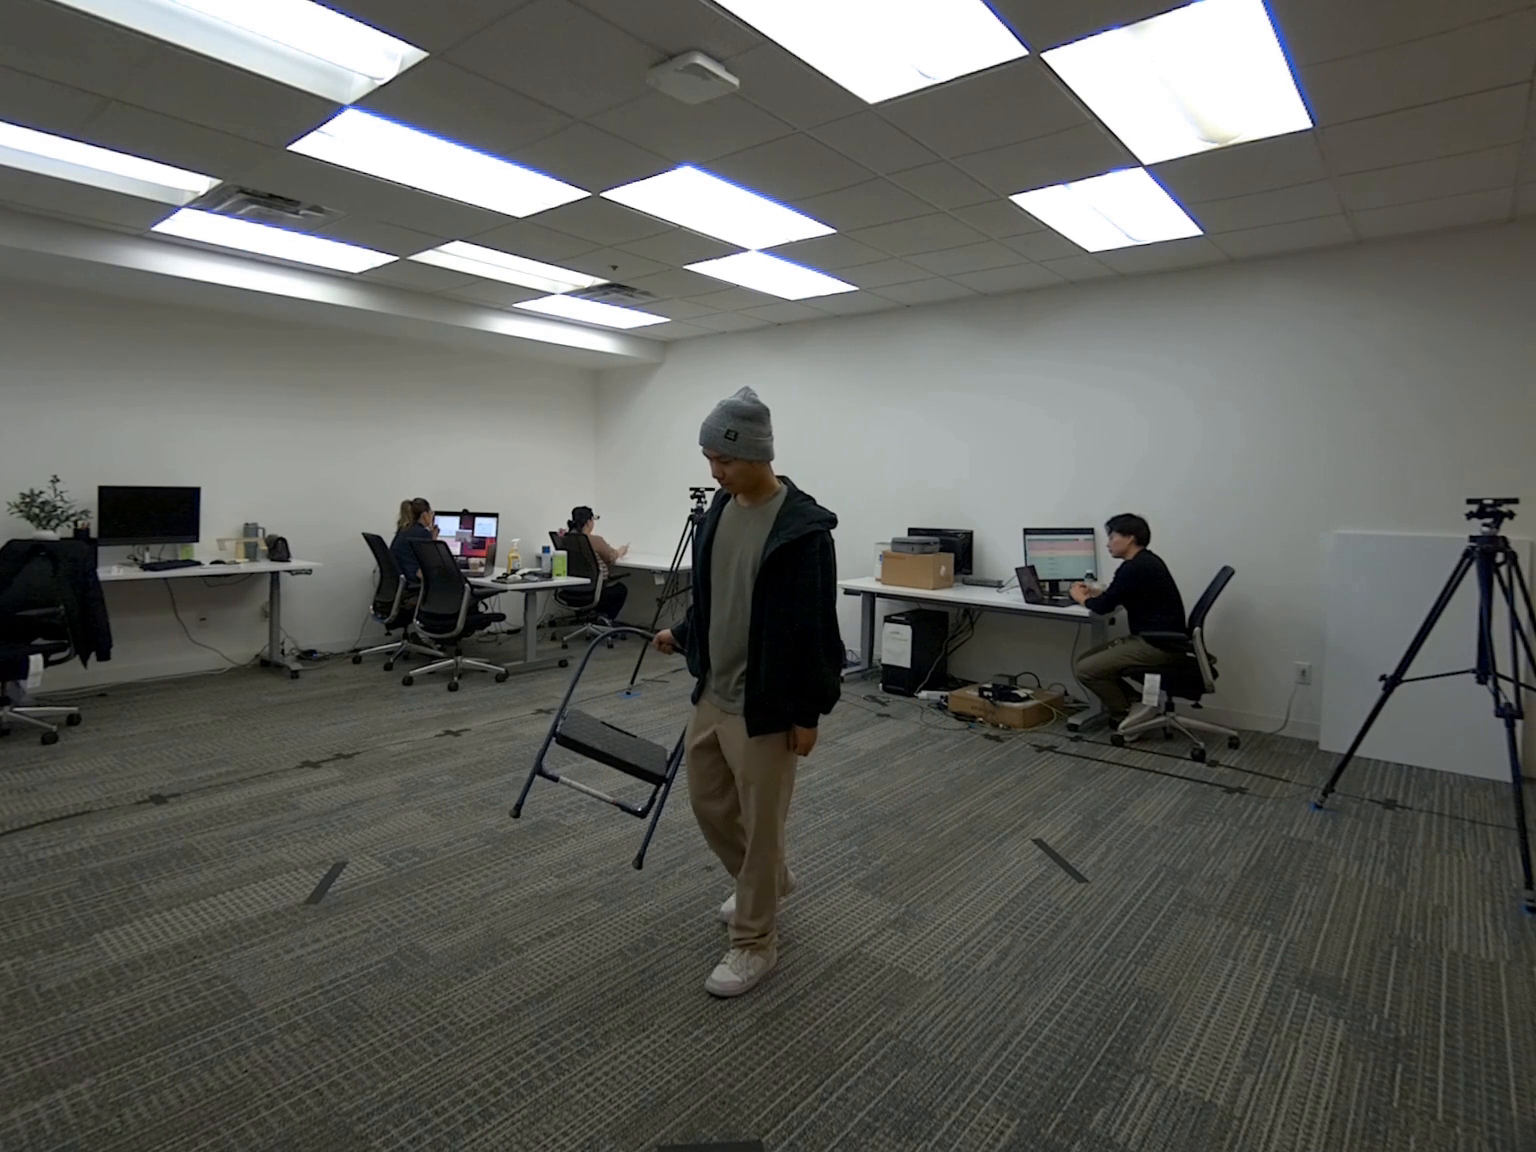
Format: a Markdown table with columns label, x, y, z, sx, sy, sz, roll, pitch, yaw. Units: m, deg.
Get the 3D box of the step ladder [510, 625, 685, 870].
| label | x | y | z | sx | sy | sz | roll | pitch | yaw |
| --- | --- | --- | --- | --- | --- | --- | --- | --- | --- |
| step ladder | -0.469 | 0.486 | 2.668 | 0.427 | 0.605 | 0.353 | 23 | 5 | -7 |
